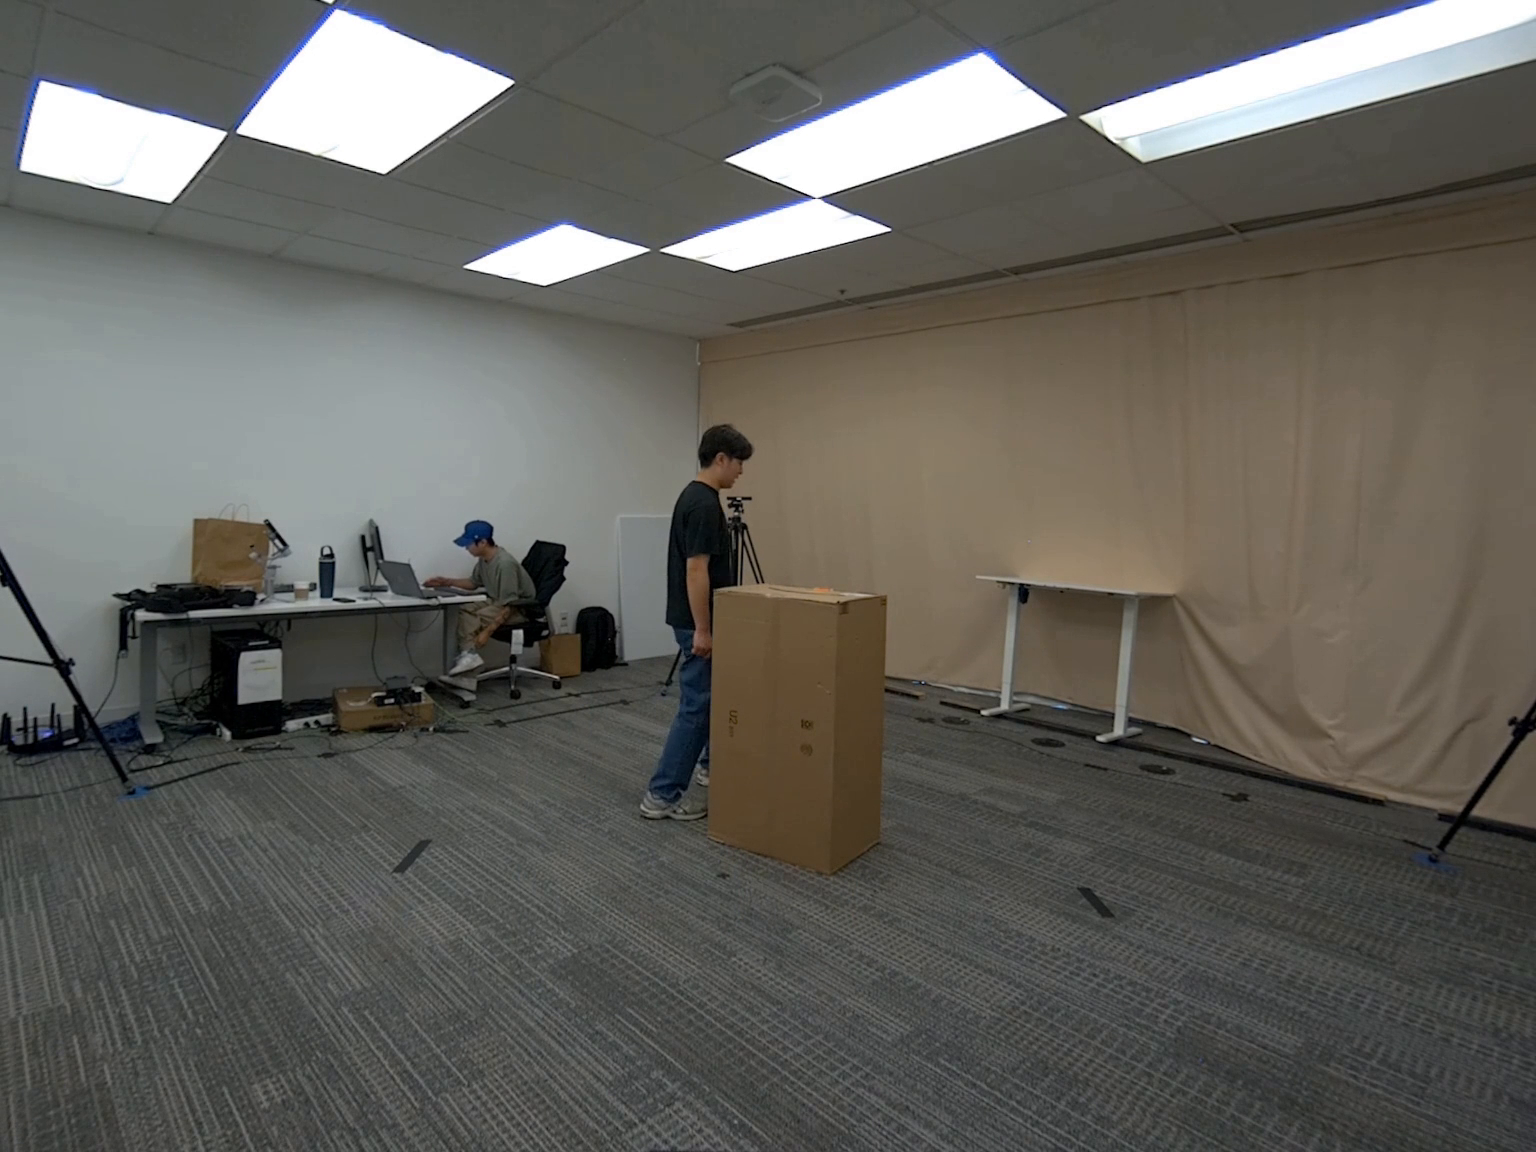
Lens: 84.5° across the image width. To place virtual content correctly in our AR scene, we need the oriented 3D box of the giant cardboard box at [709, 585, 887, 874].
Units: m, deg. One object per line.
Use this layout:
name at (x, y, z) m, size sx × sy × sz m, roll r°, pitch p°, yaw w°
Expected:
giant cardboard box at (0.121, 0.573, 3.430) m, size 0.598 × 1.025 × 0.437 m, roll 4°, pitch 3°, yaw 36°
